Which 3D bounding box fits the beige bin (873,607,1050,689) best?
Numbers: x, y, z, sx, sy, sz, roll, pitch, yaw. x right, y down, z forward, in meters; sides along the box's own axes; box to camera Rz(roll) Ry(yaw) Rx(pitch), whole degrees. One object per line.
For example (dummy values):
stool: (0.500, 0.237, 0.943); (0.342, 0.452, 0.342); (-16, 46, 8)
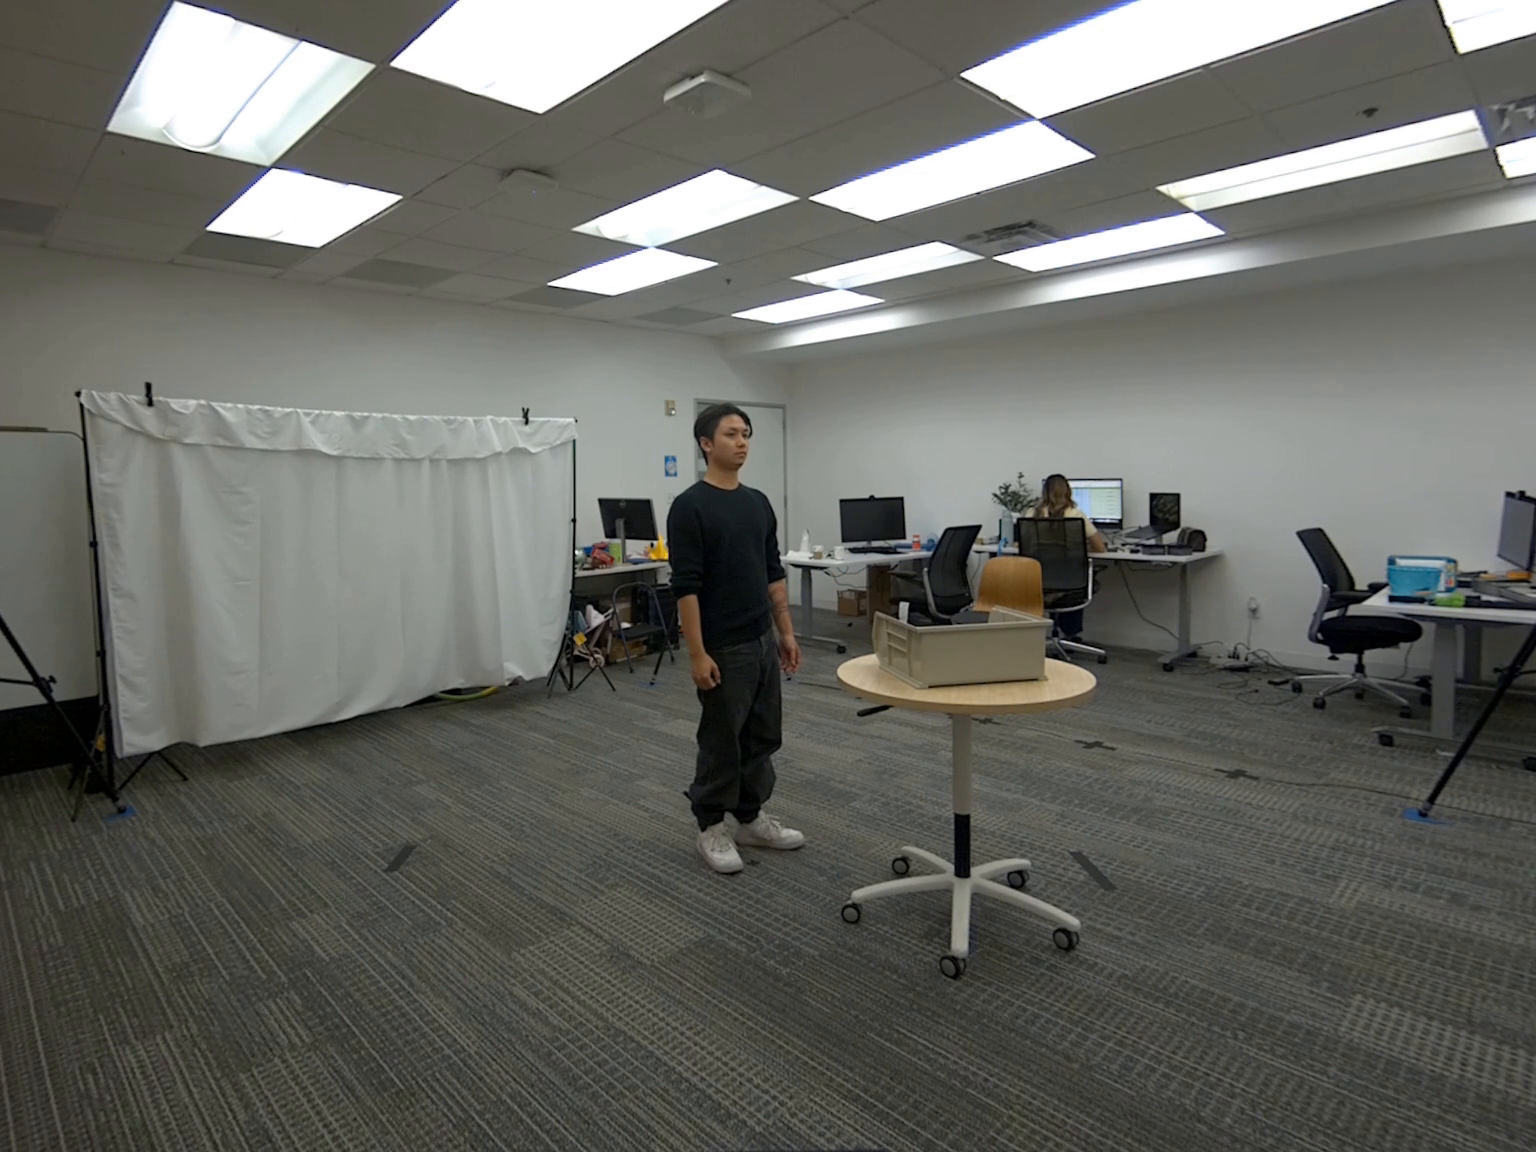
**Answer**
beige bin: (0.586, 0.210, 2.651); (0.418, 0.188, 0.383); (-2, 6, -12)
